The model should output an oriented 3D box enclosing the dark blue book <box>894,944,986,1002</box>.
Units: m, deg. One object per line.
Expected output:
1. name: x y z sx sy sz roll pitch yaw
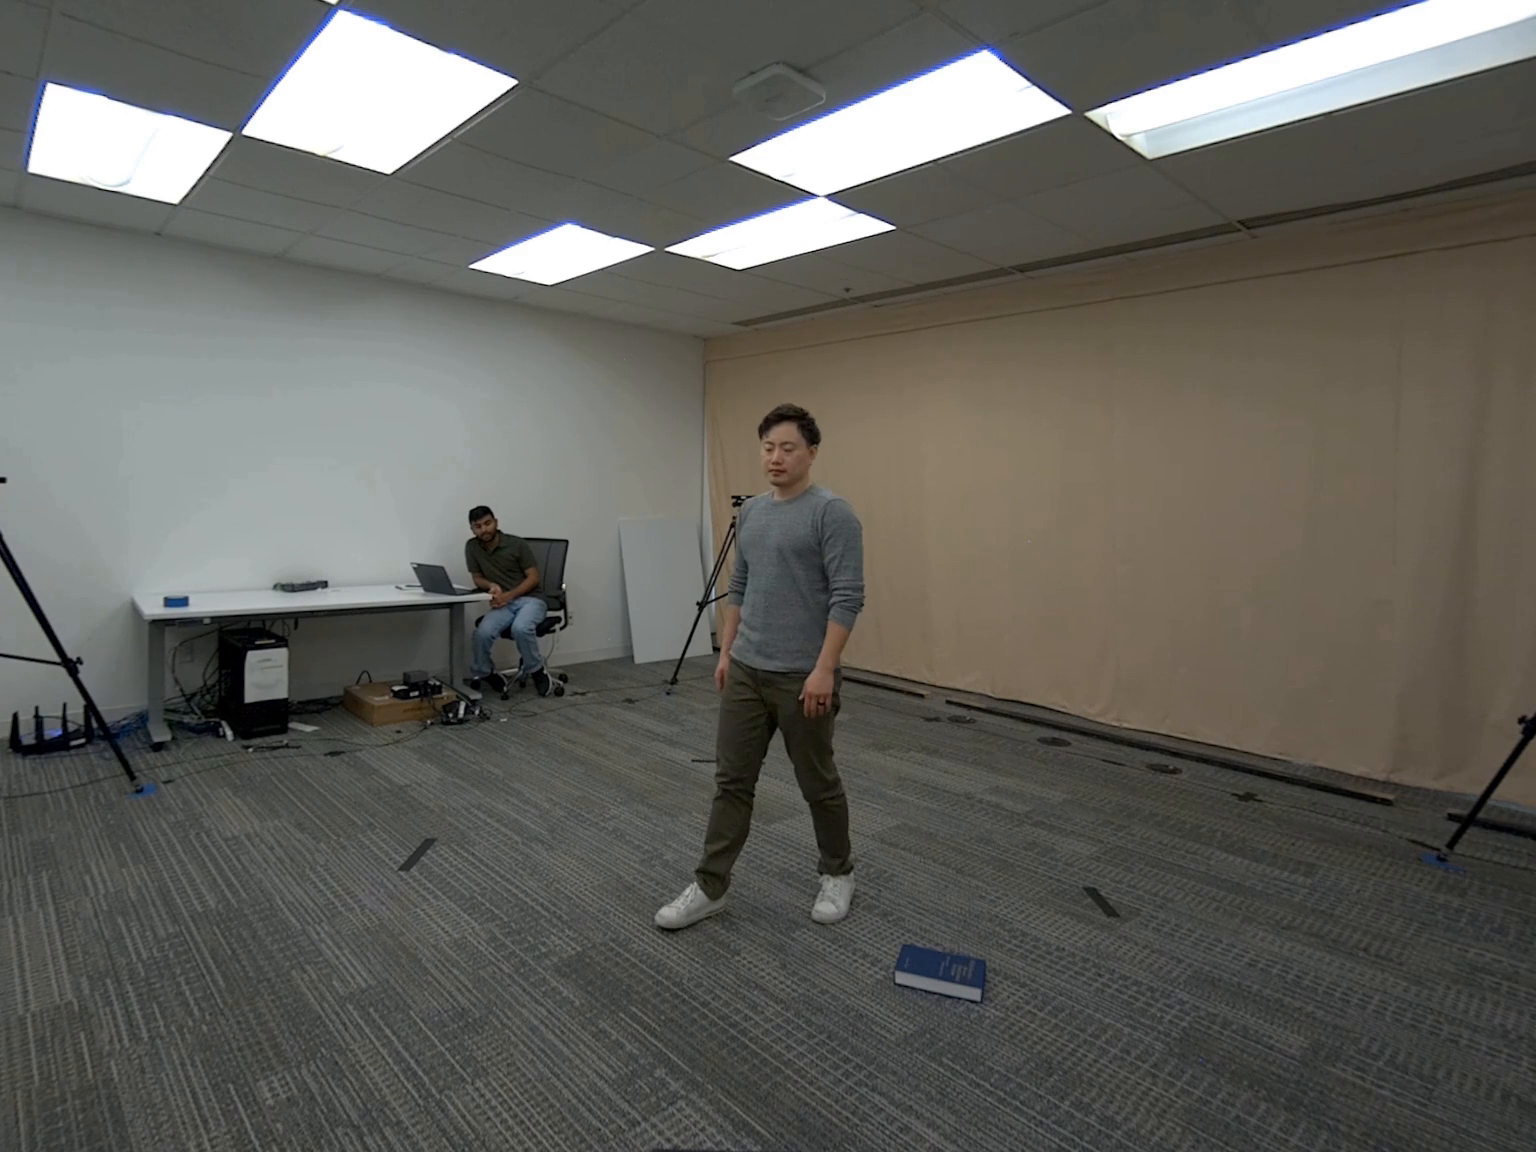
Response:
1. dark blue book: 0.494 1.154 2.449 0.249 0.045 0.161 3 5 19
